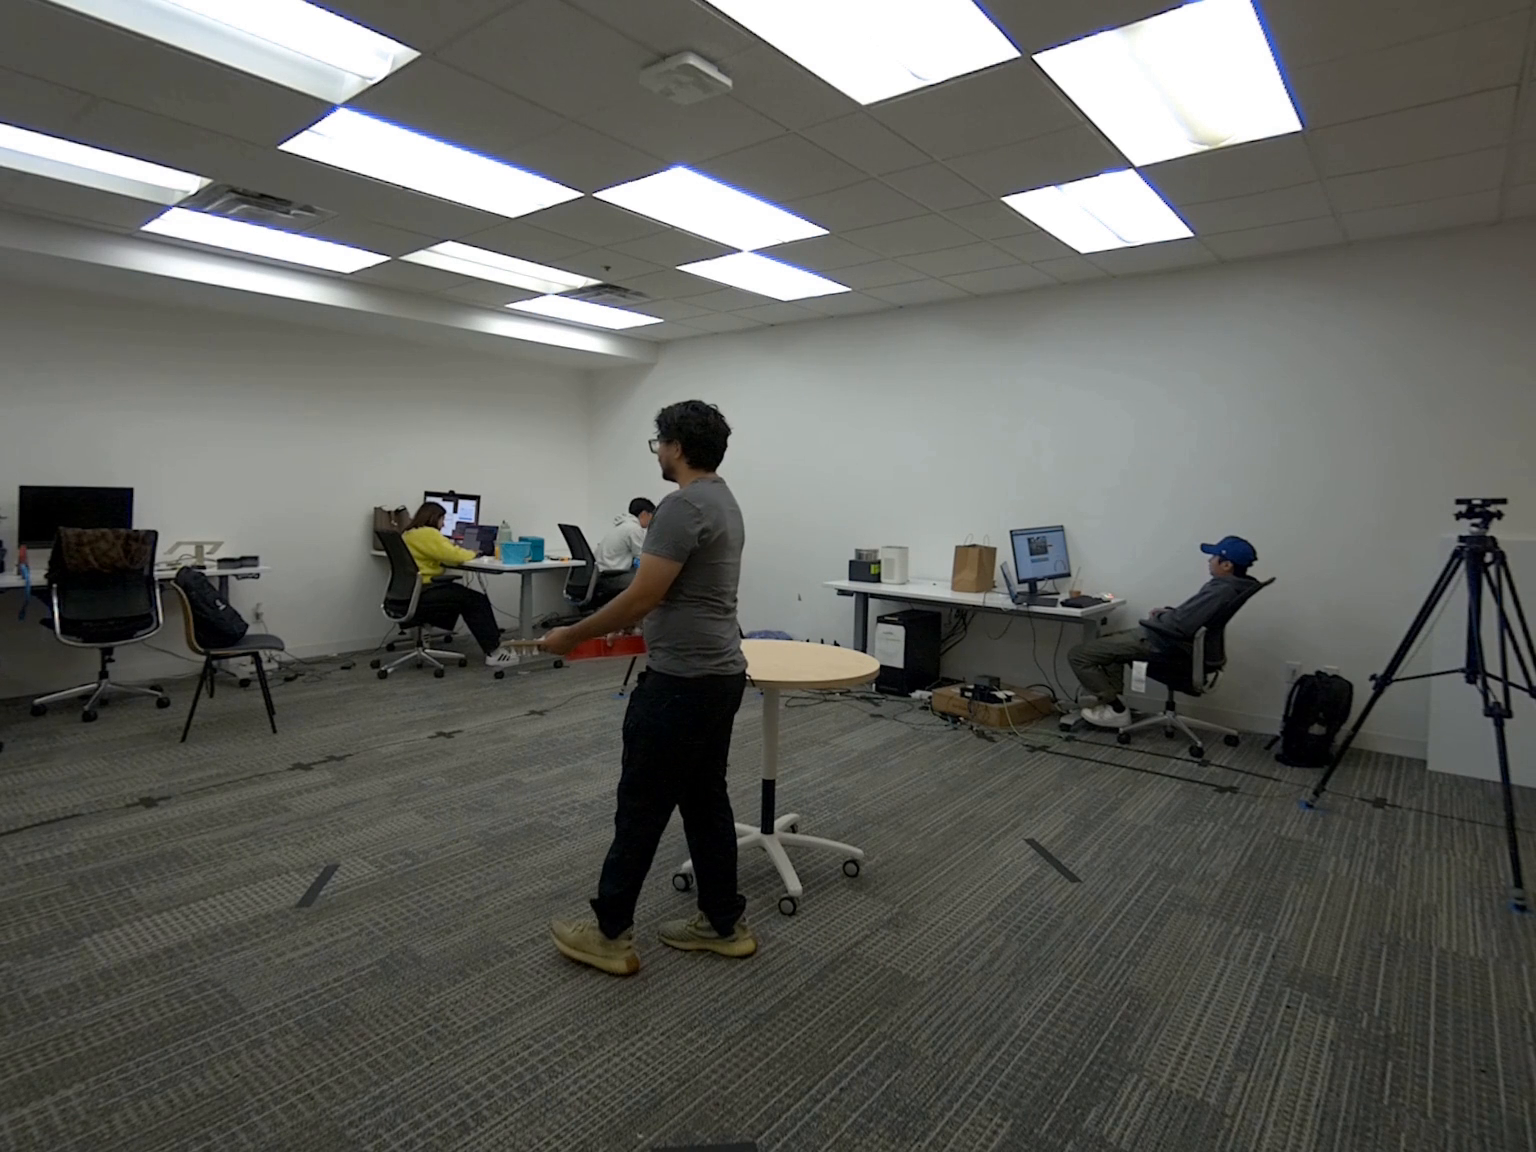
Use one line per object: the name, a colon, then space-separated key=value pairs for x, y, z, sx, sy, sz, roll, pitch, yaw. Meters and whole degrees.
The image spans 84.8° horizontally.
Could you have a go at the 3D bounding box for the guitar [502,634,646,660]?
guitar: x=-0.629 y=0.230 z=2.626 sx=0.483 sy=0.071 sz=0.197 roll=-1 pitch=-9 yaw=-36
